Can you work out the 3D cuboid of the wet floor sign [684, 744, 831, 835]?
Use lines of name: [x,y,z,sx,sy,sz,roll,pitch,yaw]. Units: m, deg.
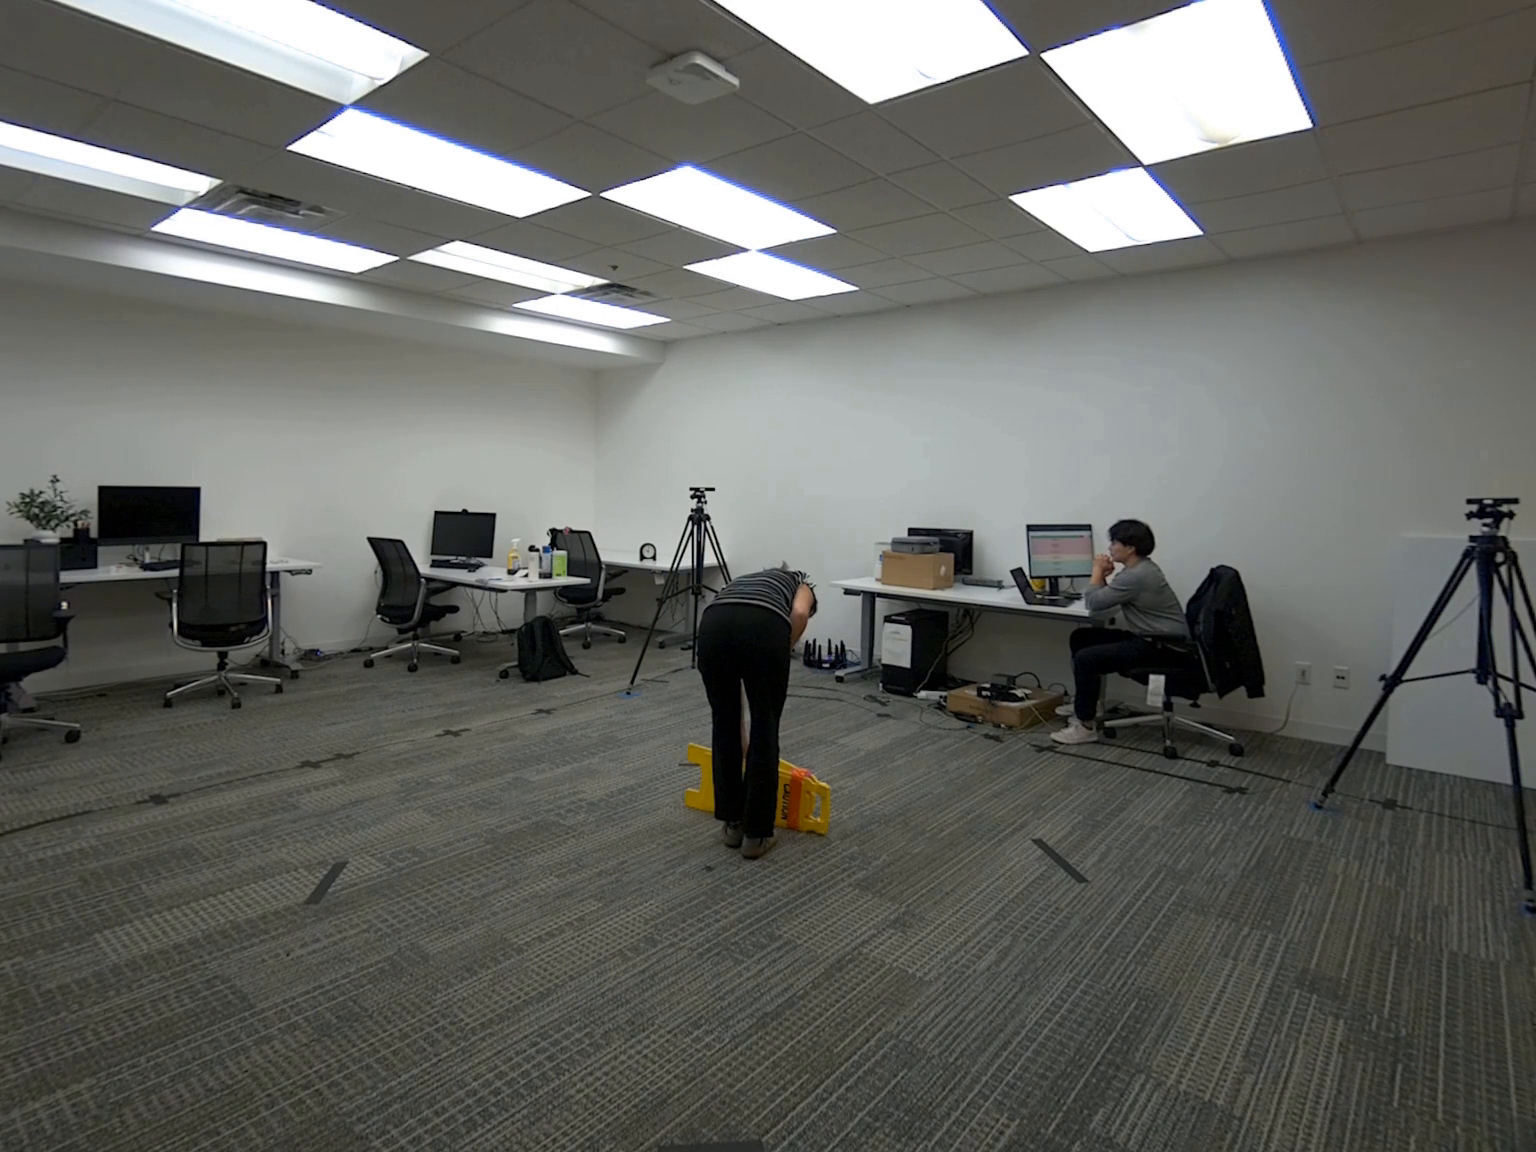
wet floor sign: [-0.029,0.894,3.619,0.668,0.281,0.281,8,7,35]
